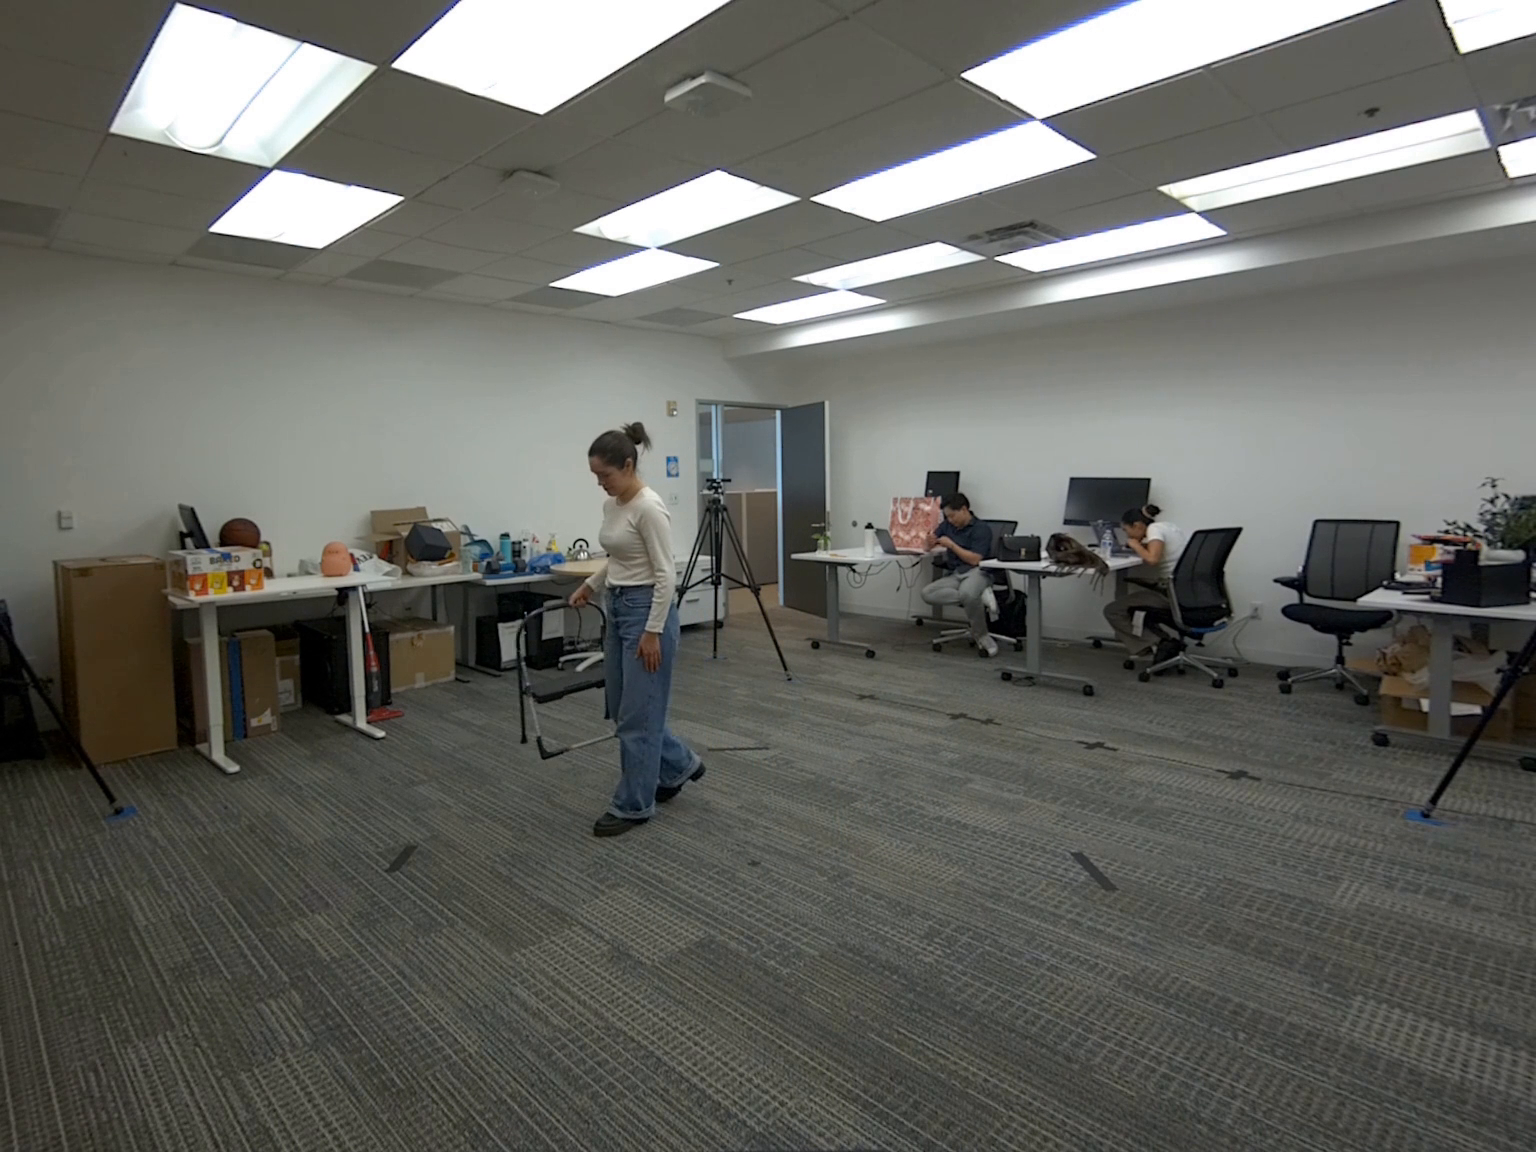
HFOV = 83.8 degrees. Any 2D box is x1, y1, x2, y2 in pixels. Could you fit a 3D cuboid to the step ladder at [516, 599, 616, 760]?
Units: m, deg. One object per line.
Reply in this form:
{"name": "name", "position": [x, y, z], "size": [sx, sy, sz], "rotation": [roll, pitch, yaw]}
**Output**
{"name": "step ladder", "position": [-0.872, 0.415, 3.703], "size": [0.422, 0.603, 0.358], "rotation": [-11, 6, -28]}
